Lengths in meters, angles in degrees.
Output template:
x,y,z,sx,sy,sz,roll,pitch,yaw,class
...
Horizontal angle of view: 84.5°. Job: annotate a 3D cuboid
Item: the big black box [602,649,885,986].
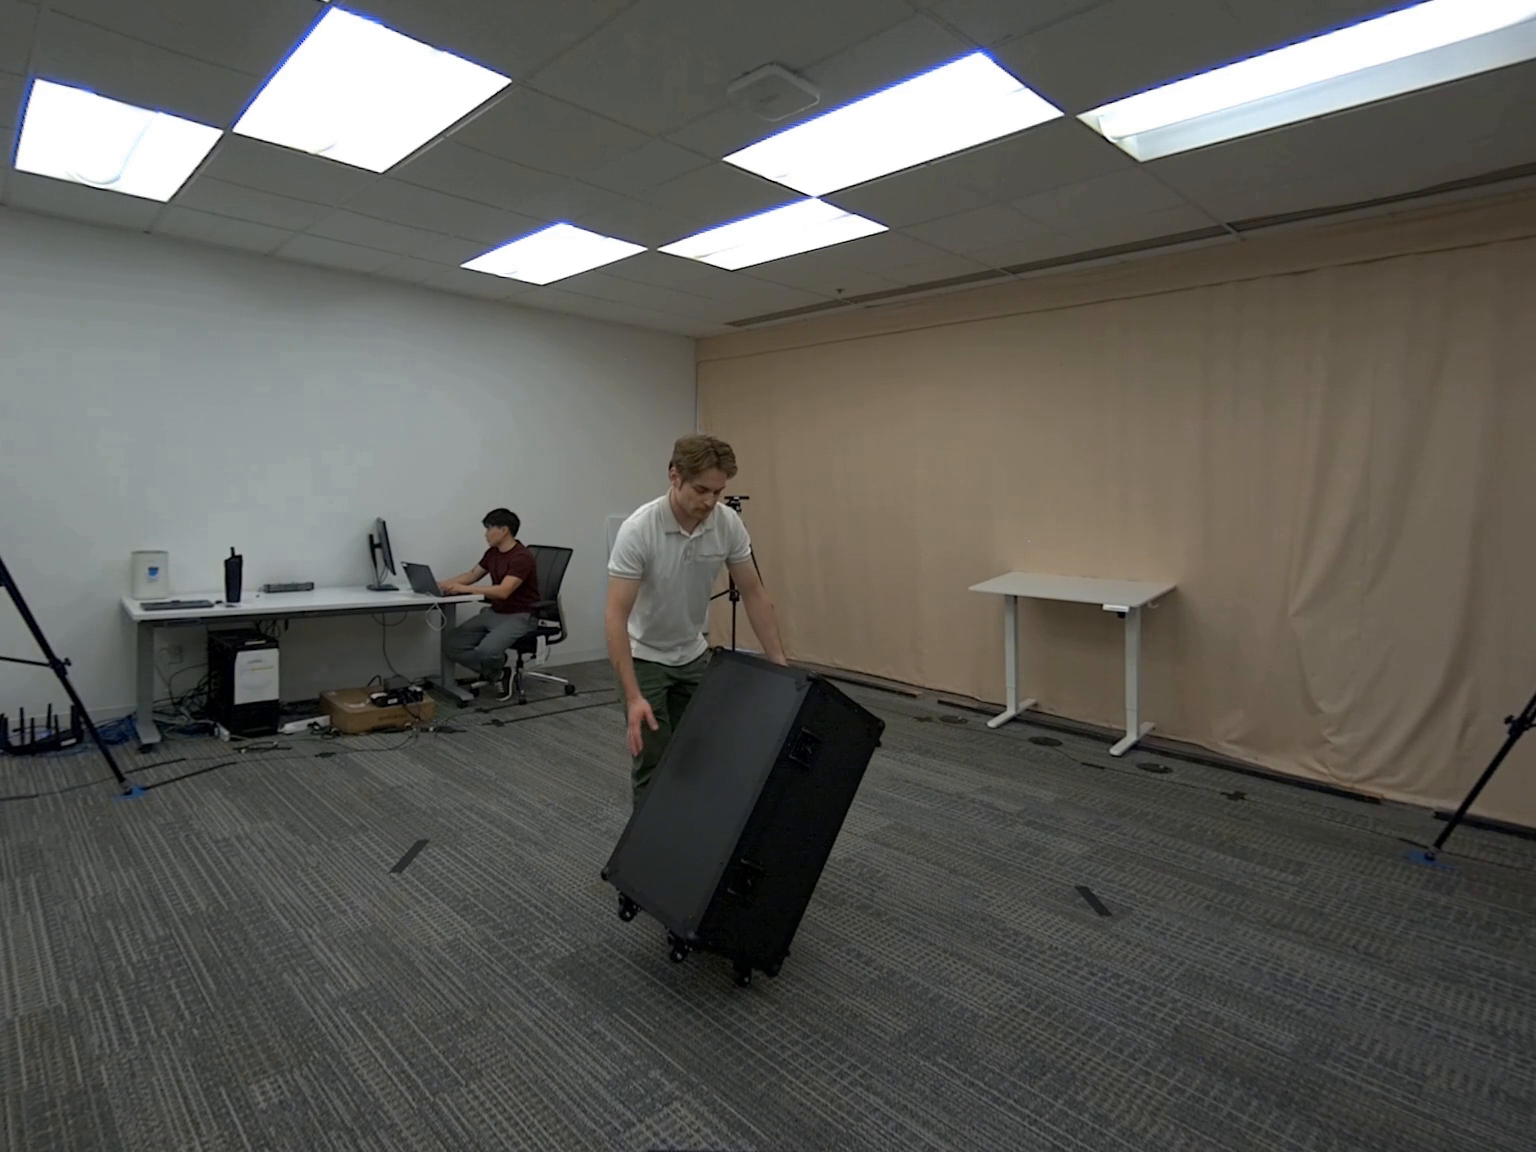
x,y,z,sx,sy,sz,roll,pitch,yaw,class
-0.093,0.714,2.543,0.374,0.872,0.537,38,-19,-35,big black box
